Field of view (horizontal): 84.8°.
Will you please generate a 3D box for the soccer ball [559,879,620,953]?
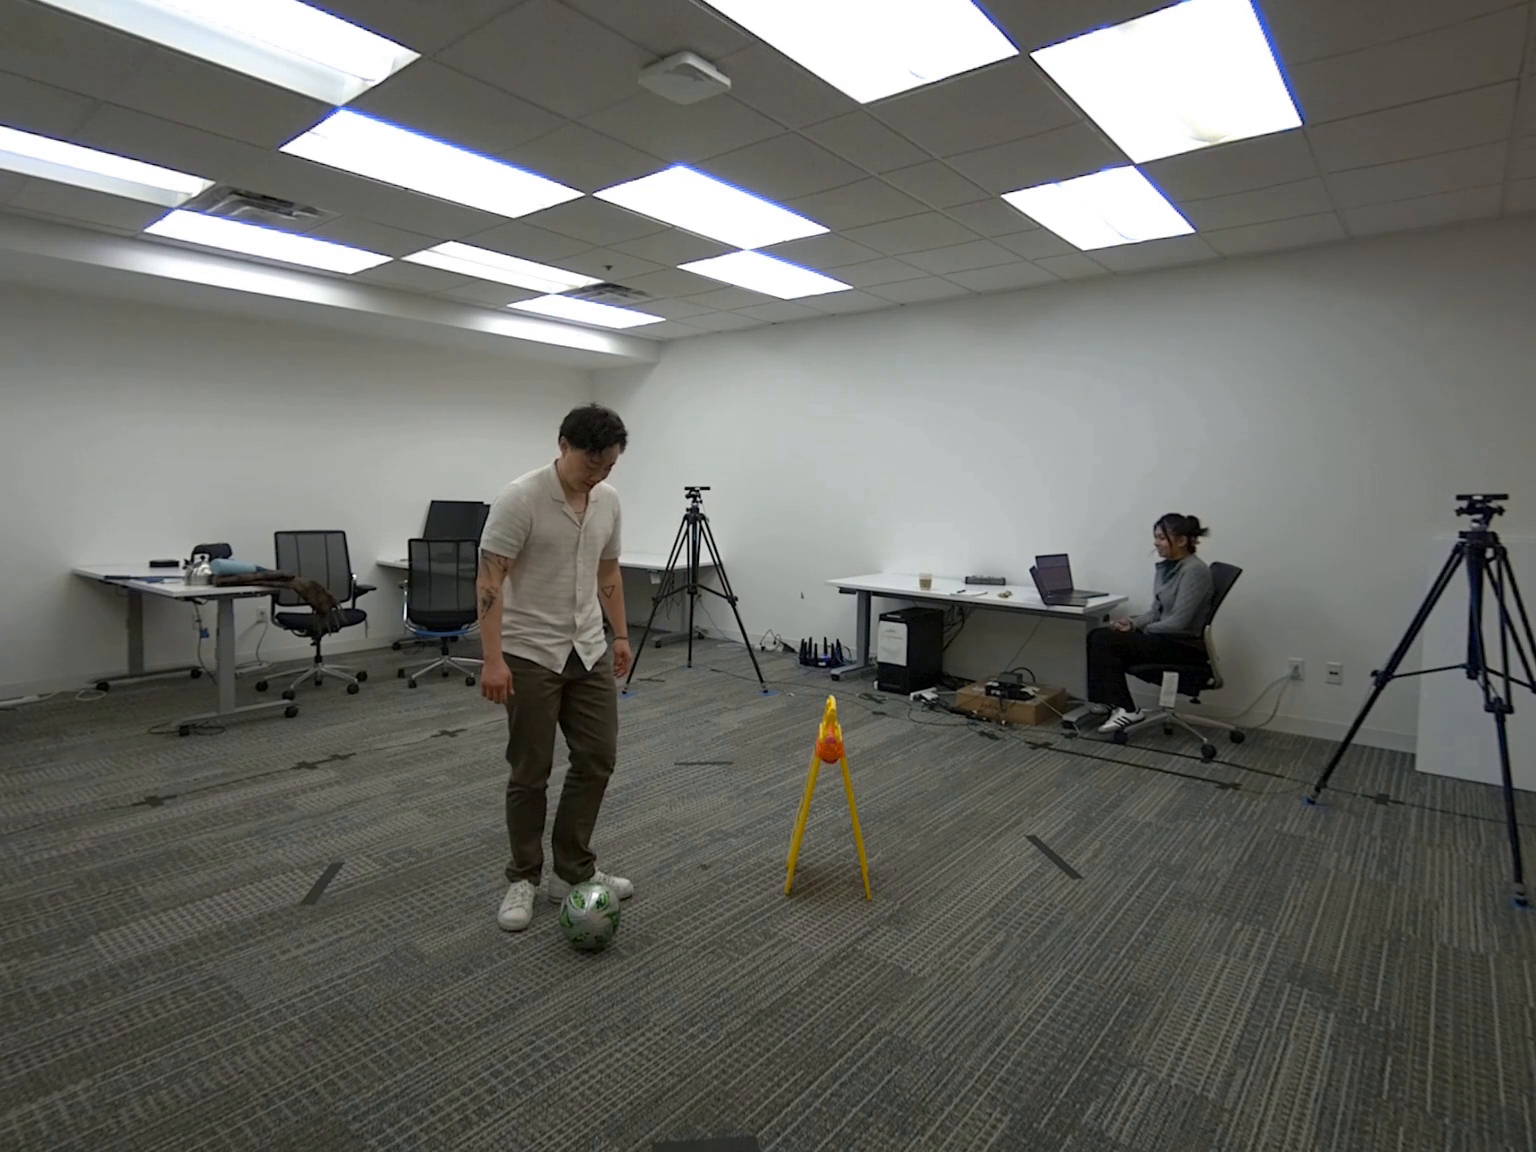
[{"bbox_3d":[-0.541,1.018,2.574,0.187,0.187,0.188,0,4,-2],"label":"soccer ball"}]
